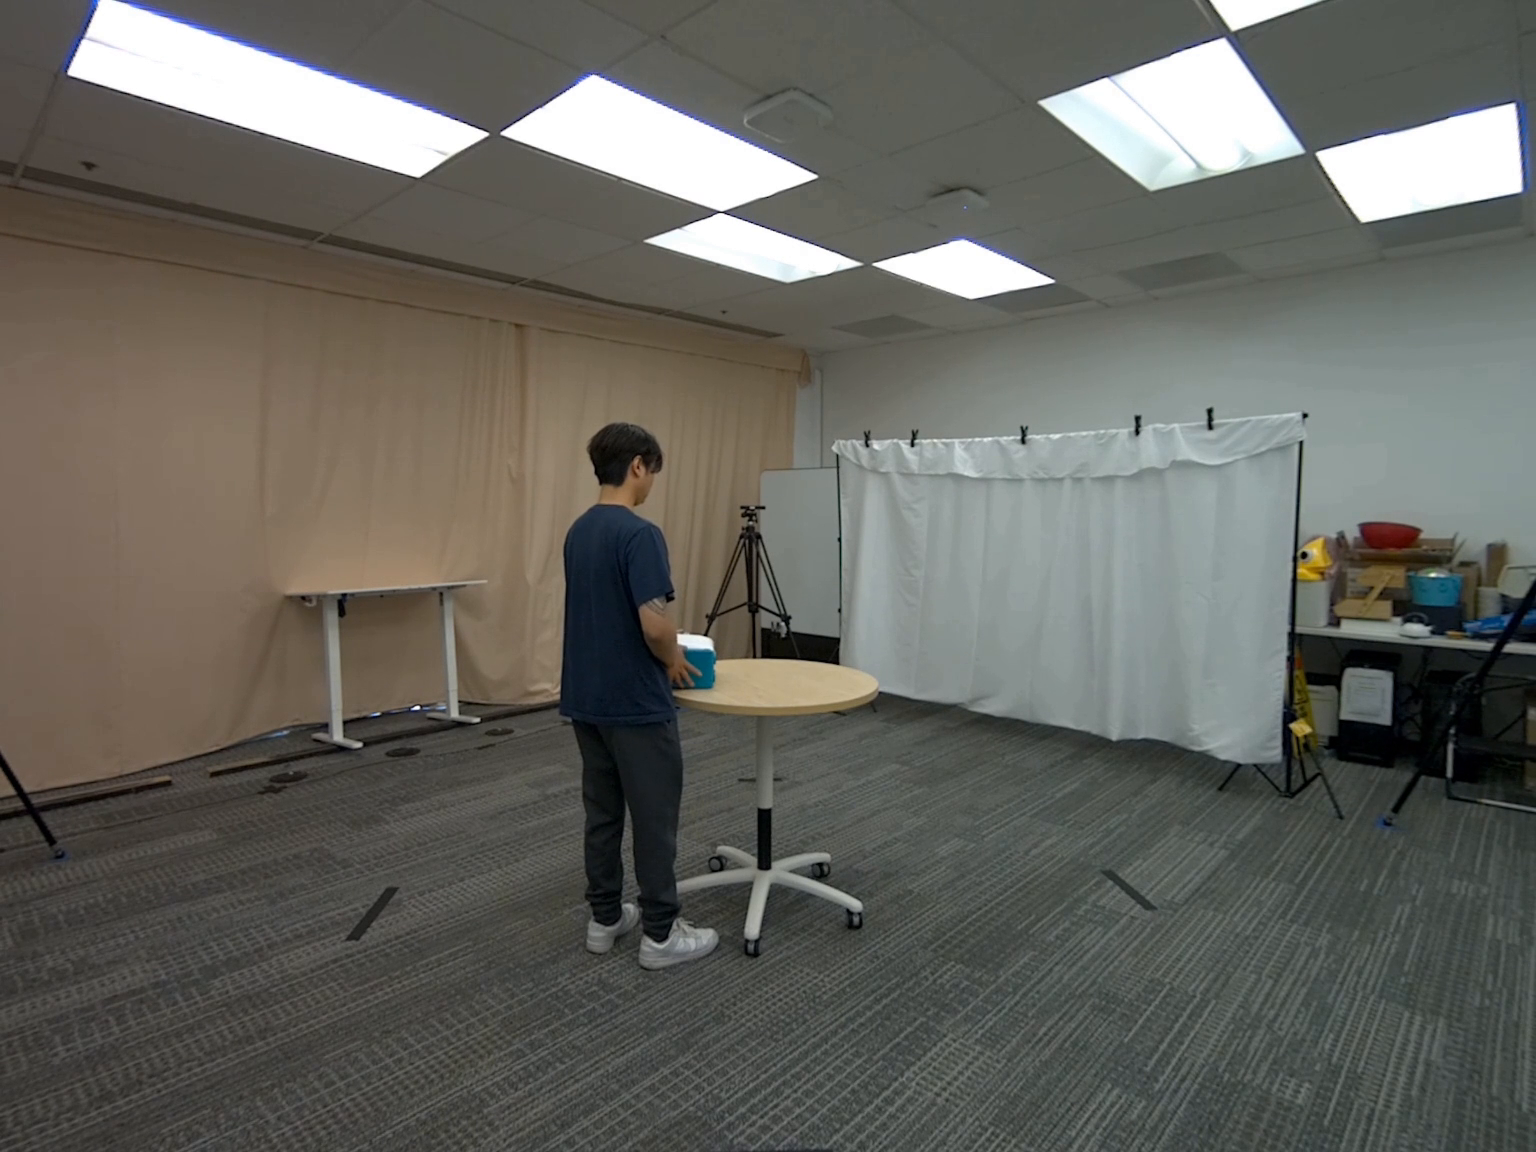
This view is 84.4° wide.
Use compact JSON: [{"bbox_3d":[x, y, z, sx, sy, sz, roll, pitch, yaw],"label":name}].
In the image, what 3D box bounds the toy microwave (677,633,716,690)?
[{"bbox_3d":[-0.269,0.286,2.850,0.184,0.152,0.287,4,5,-3],"label":"toy microwave"}]
